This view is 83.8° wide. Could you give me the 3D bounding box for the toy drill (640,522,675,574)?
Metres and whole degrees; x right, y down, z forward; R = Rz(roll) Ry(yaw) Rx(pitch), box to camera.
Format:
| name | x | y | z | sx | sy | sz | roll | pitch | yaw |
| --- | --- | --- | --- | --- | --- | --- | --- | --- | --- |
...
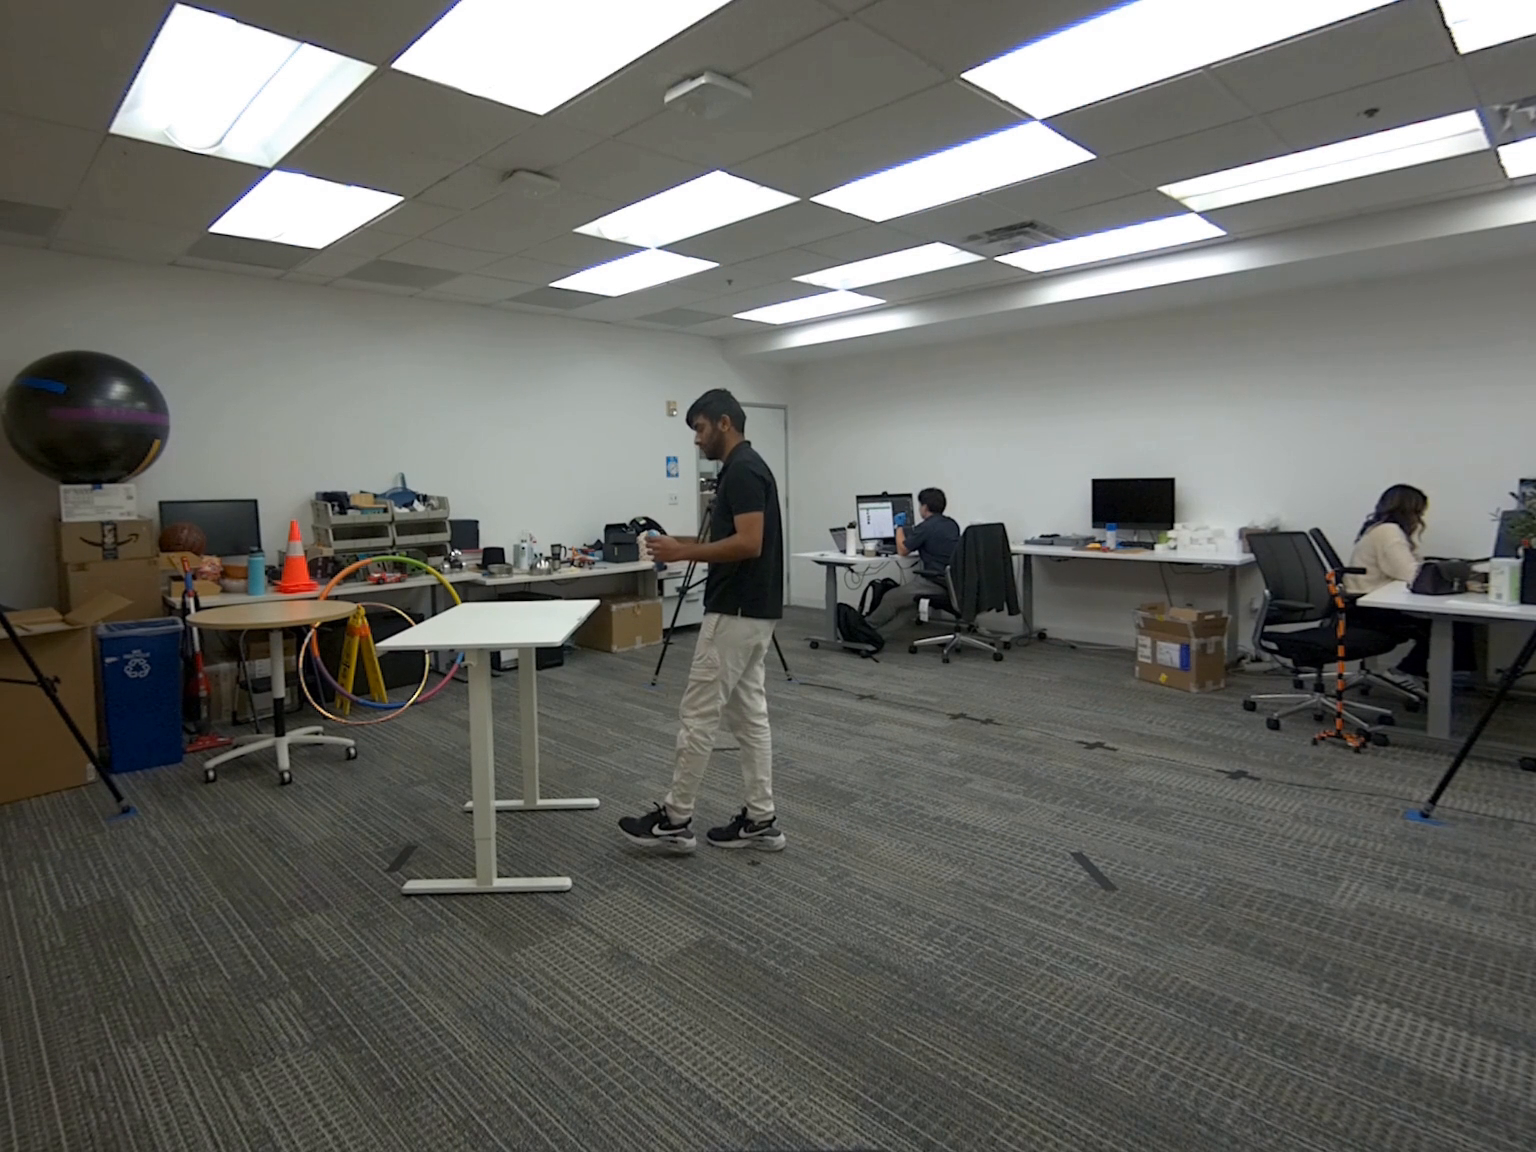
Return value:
| name | x | y | z | sx | sy | sz | roll | pitch | yaw |
| --- | --- | --- | --- | --- | --- | --- | --- | --- | --- |
| toy drill | -0.410 | -0.108 | 3.165 | 0.060 | 0.144 | 0.175 | -14 | 17 | -19 |
